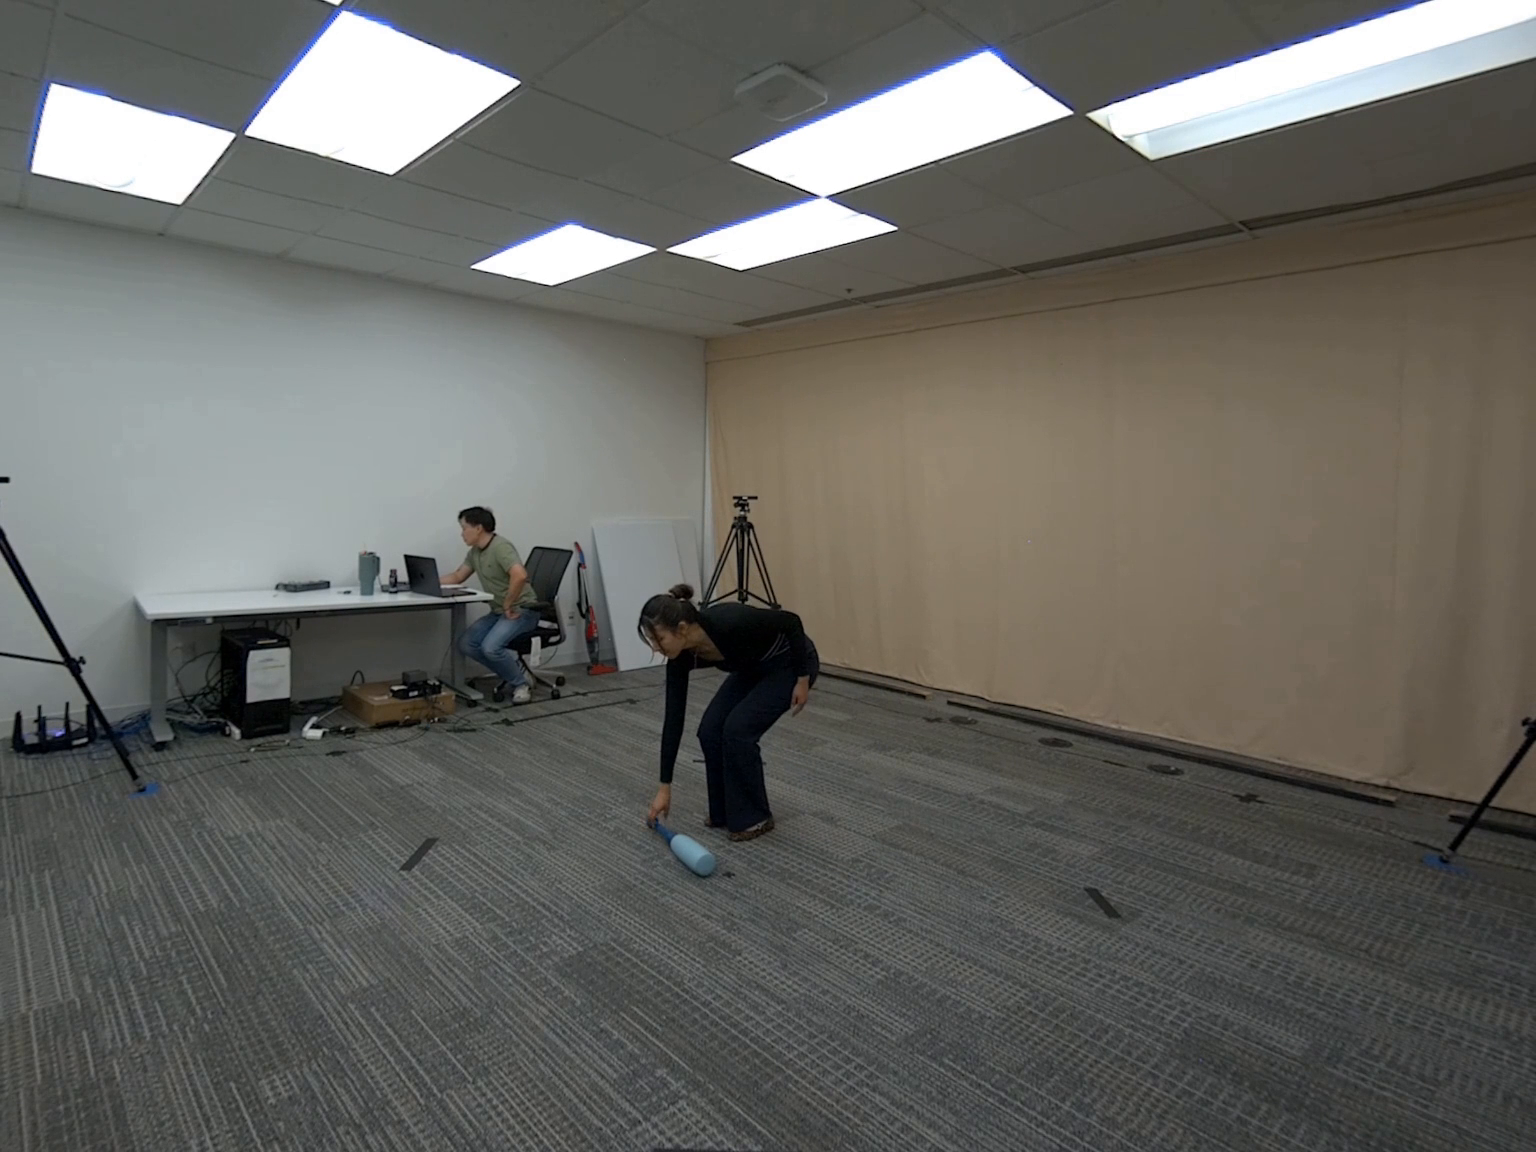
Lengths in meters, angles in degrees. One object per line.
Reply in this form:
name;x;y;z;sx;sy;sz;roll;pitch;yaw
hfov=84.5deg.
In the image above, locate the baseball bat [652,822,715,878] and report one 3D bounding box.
baseball bat;-0.362;1.045;3.294;0.087;0.089;0.554;-1;3;-27
